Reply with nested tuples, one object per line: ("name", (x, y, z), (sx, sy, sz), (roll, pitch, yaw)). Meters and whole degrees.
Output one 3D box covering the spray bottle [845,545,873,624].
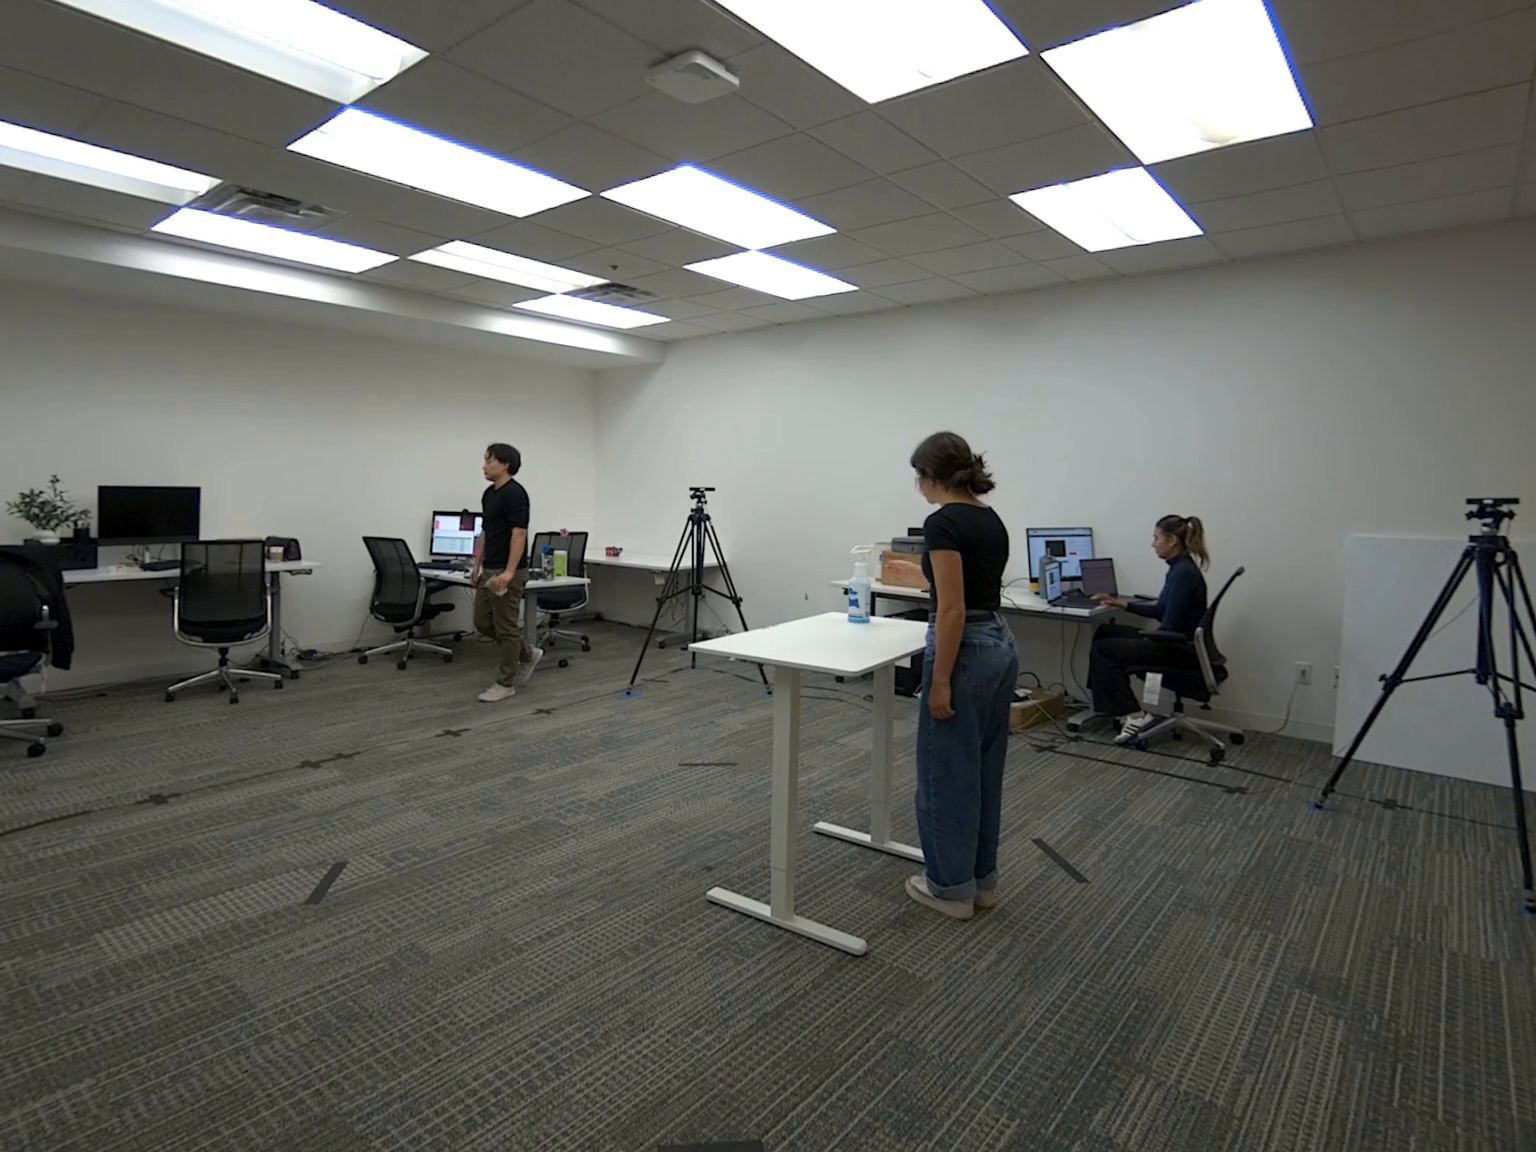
("spray bottle", (0.352, 0.032, 3.309), (0.092, 0.297, 0.085), (4, 1, 17))
